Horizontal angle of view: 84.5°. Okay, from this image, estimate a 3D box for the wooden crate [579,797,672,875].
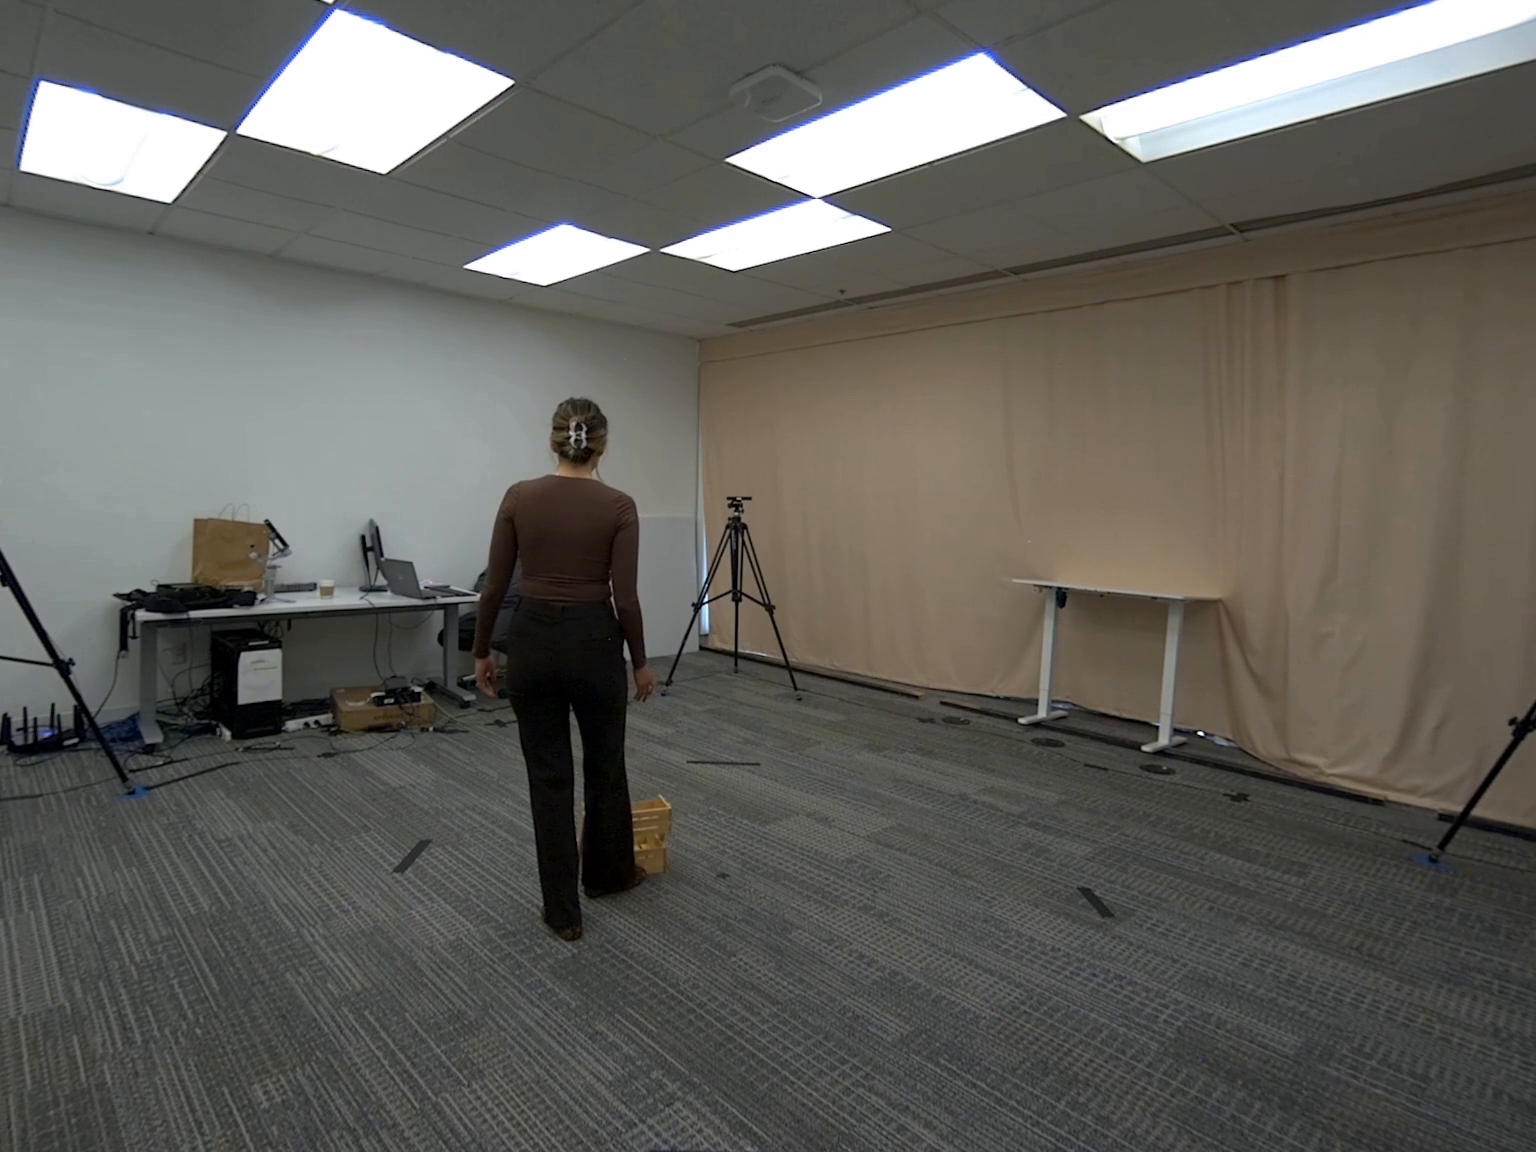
[{"bbox_3d":[-0.559,0.961,3.157,0.319,0.272,0.308,0,5,-23],"label":"wooden crate"}]
